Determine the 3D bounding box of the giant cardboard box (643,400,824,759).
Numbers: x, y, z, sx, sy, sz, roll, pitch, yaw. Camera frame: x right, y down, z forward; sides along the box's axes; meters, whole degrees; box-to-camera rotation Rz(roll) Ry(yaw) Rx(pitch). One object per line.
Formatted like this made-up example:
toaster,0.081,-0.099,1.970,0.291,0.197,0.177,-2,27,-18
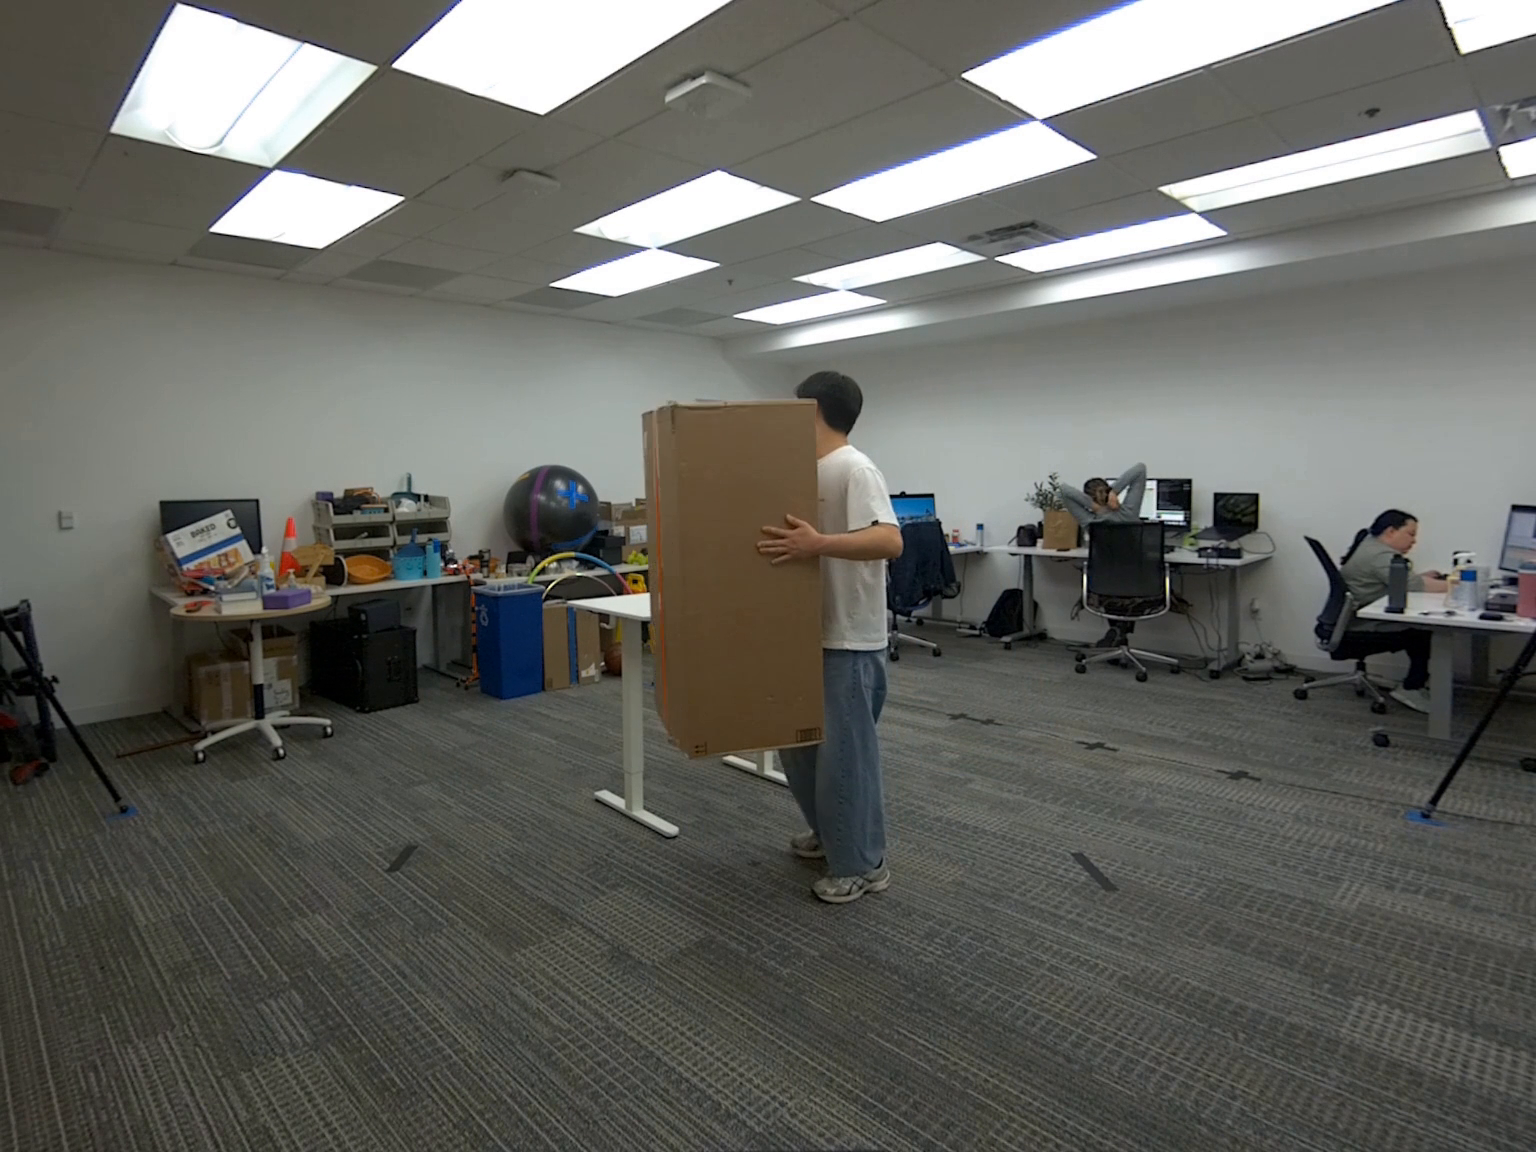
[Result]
giant cardboard box,-0.134,-0.021,2.733,0.421,1.021,0.588,-4,6,-15
